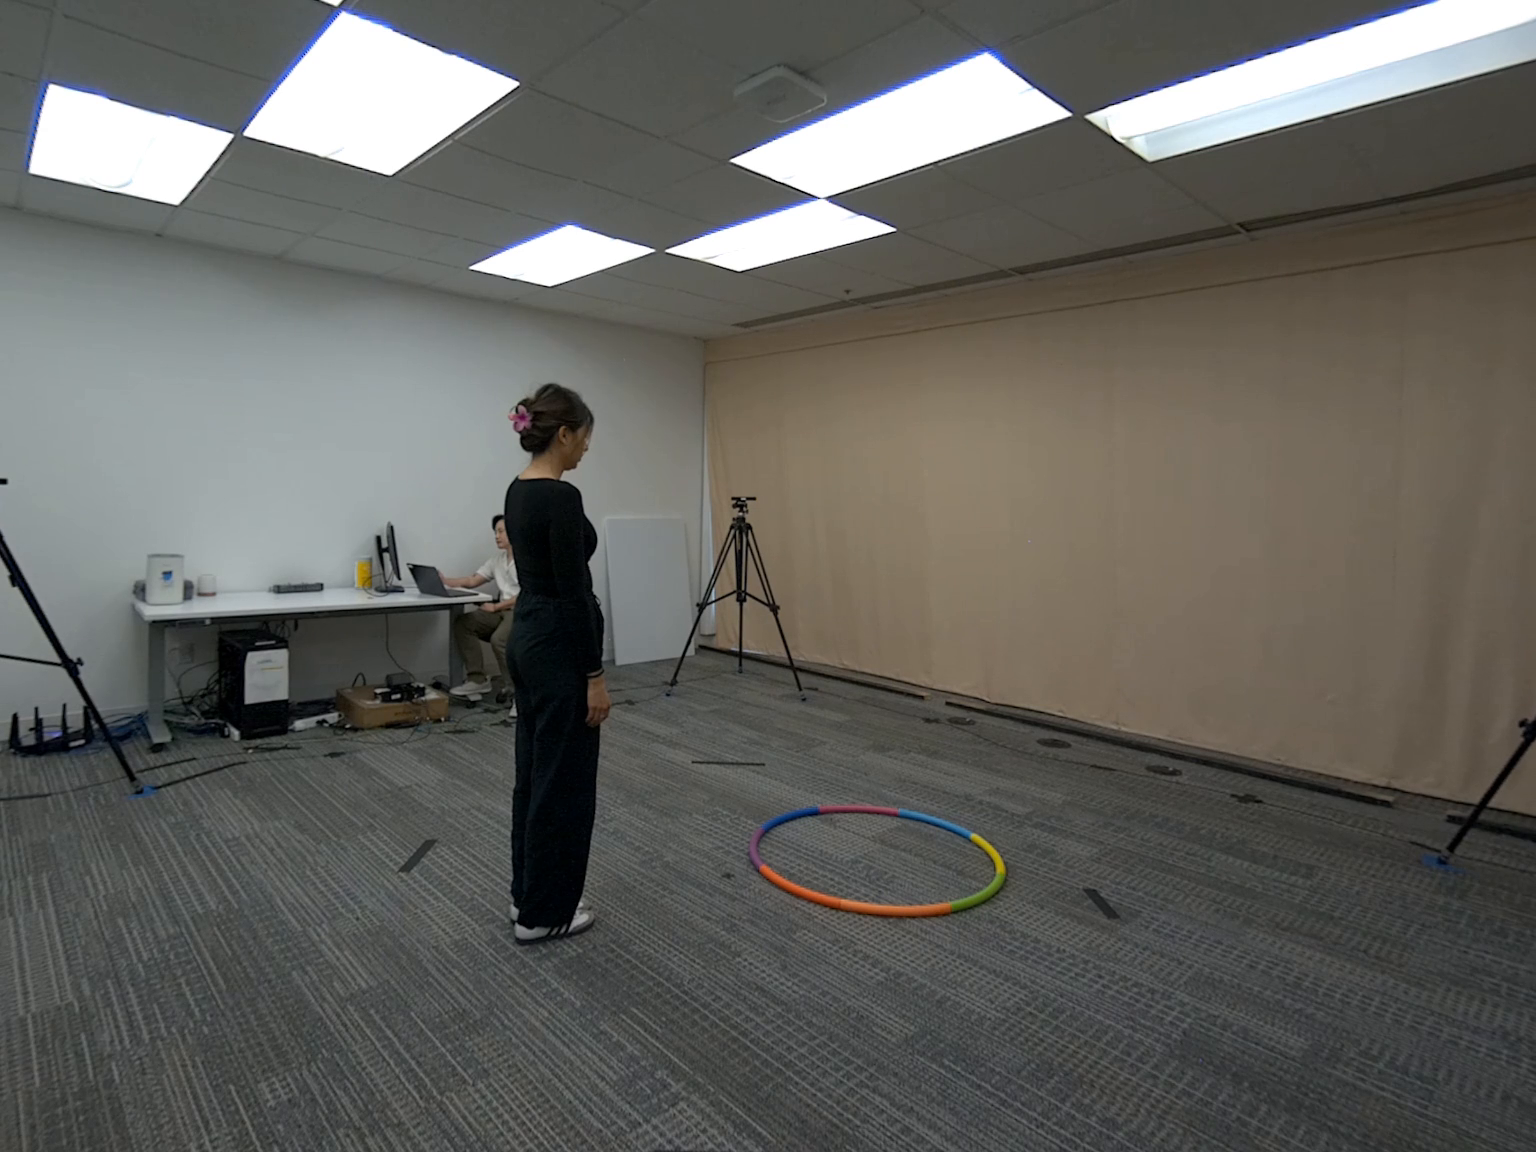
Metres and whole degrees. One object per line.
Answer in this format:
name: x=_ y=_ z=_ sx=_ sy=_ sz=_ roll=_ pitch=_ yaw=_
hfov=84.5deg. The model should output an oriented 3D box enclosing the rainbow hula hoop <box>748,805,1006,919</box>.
rainbow hula hoop: x=0.407 y=1.072 z=3.303 sx=0.978 sy=0.035 sz=0.982 roll=1 pitch=5 yaw=-1
